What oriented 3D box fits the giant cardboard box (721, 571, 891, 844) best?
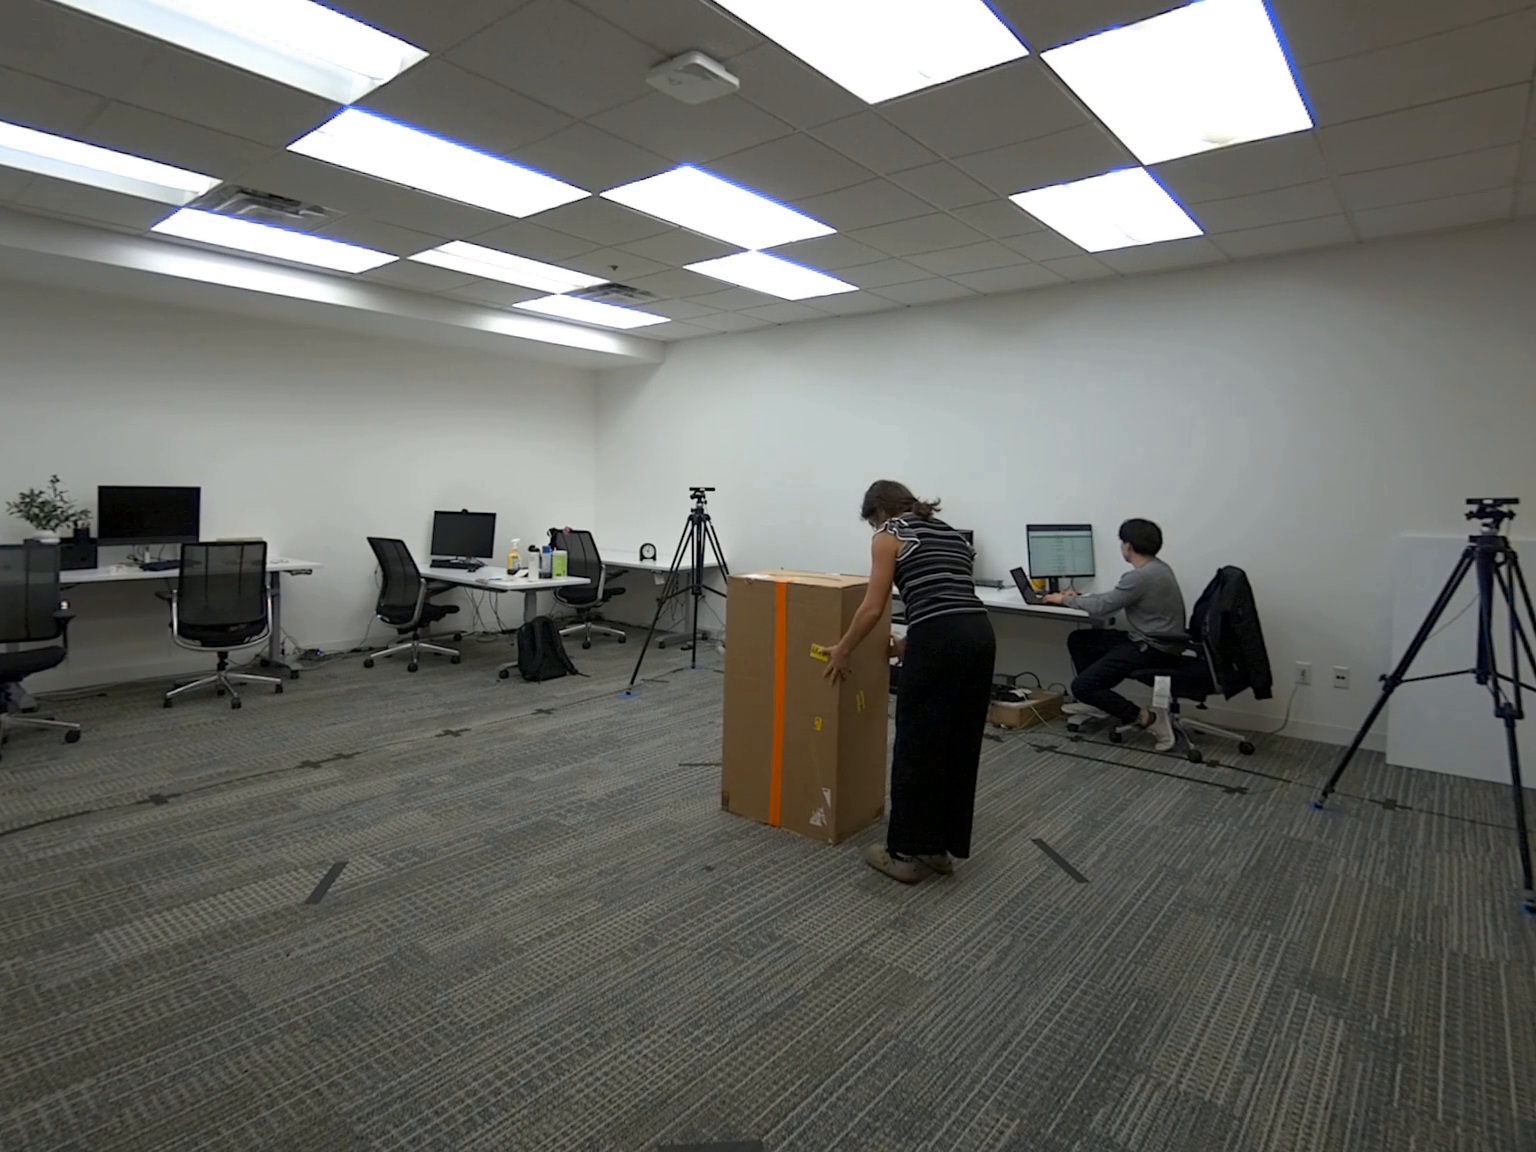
[{"bbox_3d":[0.154,0.513,3.649,0.597,1.023,0.414,4,4,37],"label":"giant cardboard box"}]
